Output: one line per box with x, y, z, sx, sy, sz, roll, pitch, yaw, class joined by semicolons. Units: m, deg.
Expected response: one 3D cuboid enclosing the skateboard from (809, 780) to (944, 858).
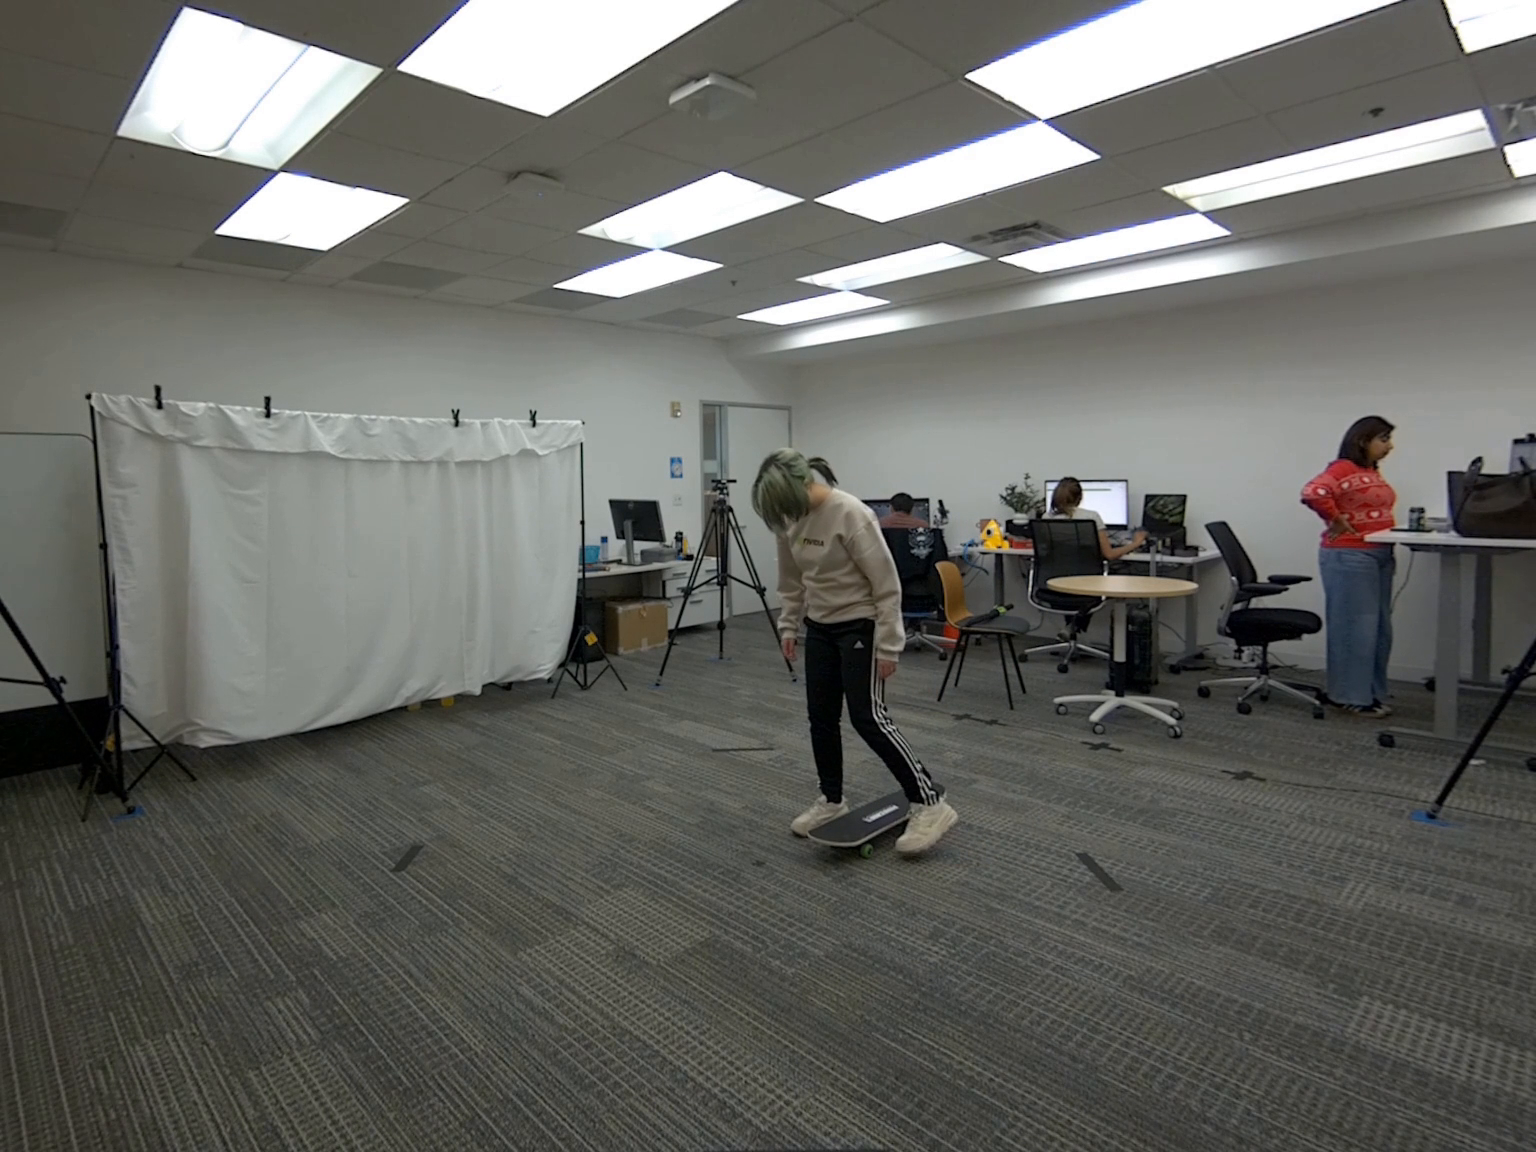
0.437;0.952;3.333;0.199;0.110;0.765;2;7;43;skateboard
